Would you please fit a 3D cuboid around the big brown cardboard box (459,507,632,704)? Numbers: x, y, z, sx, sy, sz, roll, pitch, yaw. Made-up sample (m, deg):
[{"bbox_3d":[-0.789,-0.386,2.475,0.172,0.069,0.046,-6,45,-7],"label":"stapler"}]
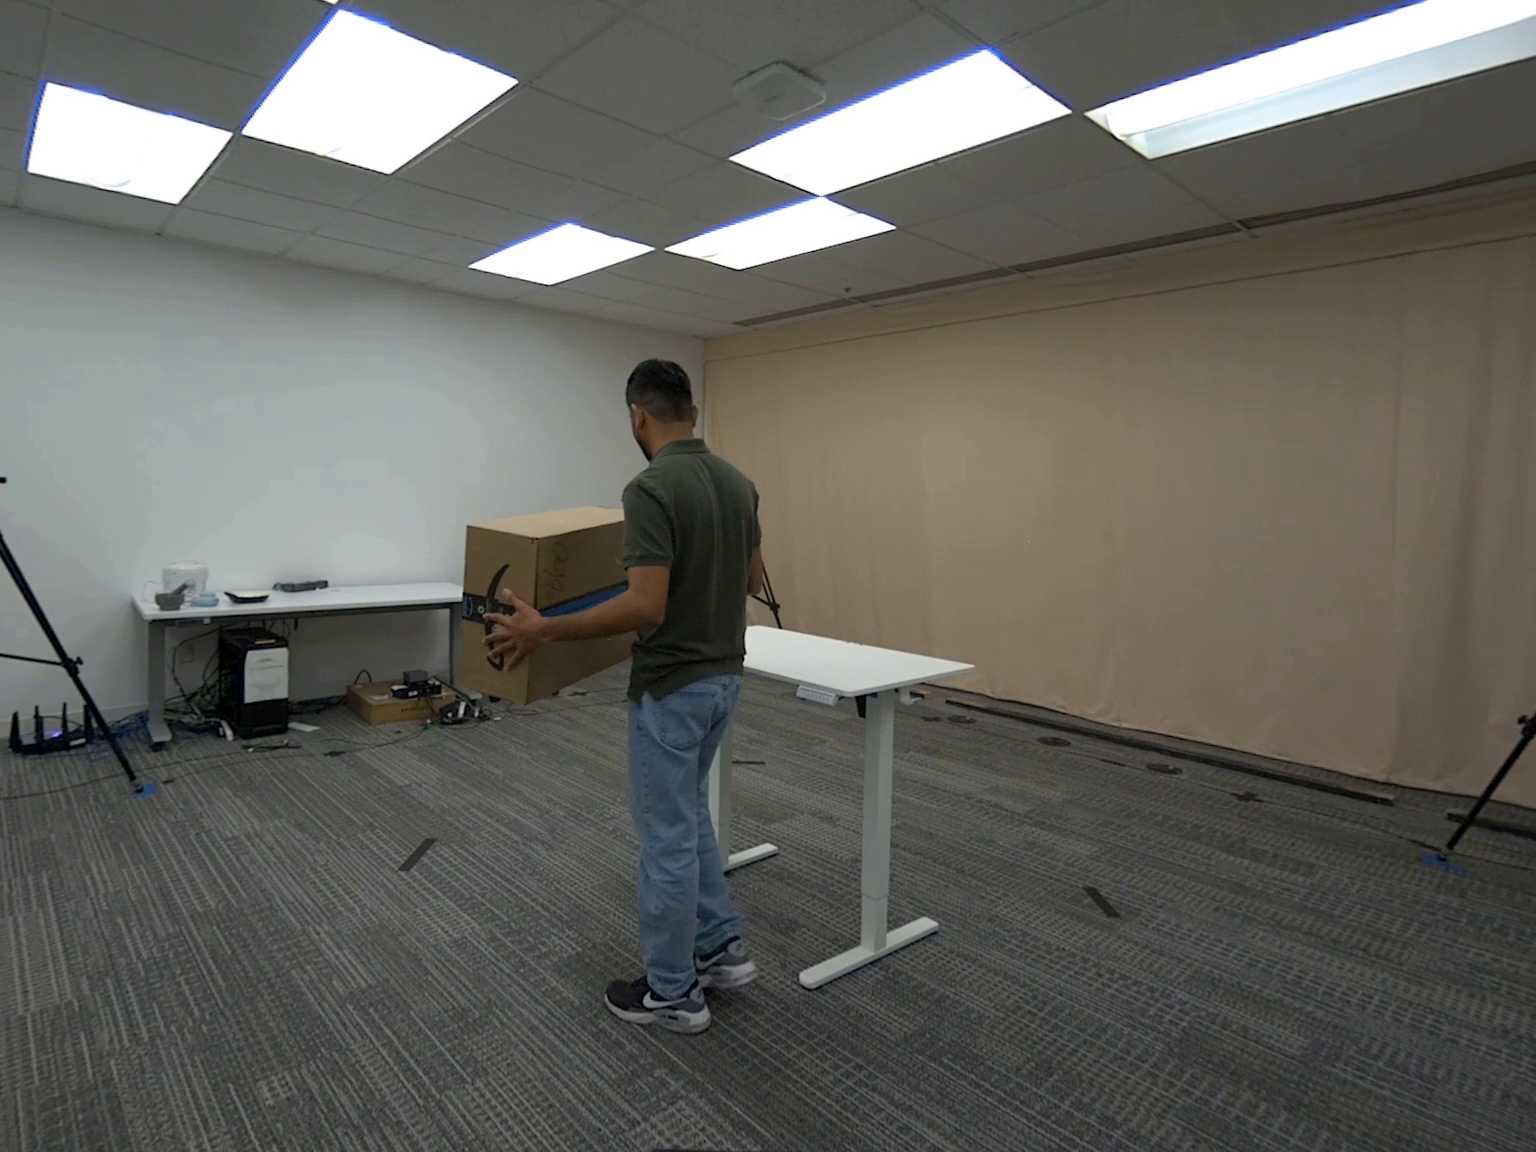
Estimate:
[{"bbox_3d":[-0.544,0.051,2.293,0.238,0.414,0.581,10,12,22],"label":"big brown cardboard box"}]
